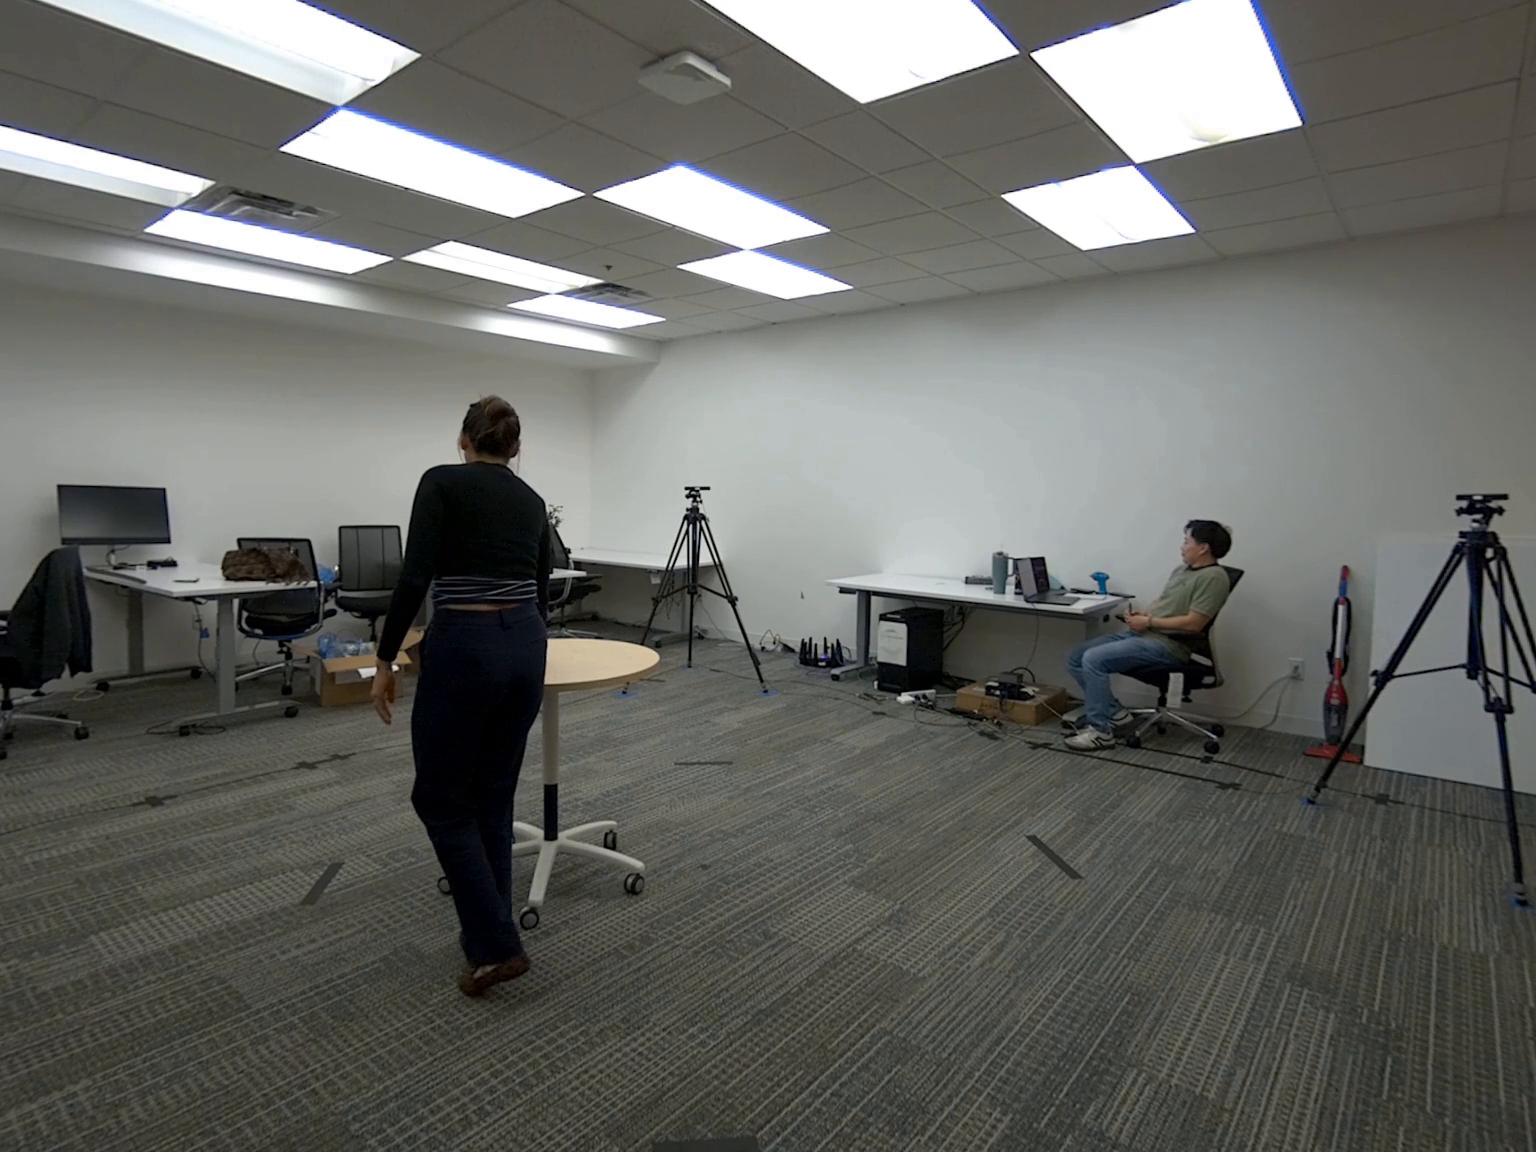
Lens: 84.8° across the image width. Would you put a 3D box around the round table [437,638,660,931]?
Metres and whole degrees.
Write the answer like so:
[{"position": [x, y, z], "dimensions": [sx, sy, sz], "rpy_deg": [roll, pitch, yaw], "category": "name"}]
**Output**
[{"position": [-0.774, 0.681, 2.998], "dimensions": [0.763, 0.791, 0.768], "rpy_deg": [0, 5, -2], "category": "round table"}]
